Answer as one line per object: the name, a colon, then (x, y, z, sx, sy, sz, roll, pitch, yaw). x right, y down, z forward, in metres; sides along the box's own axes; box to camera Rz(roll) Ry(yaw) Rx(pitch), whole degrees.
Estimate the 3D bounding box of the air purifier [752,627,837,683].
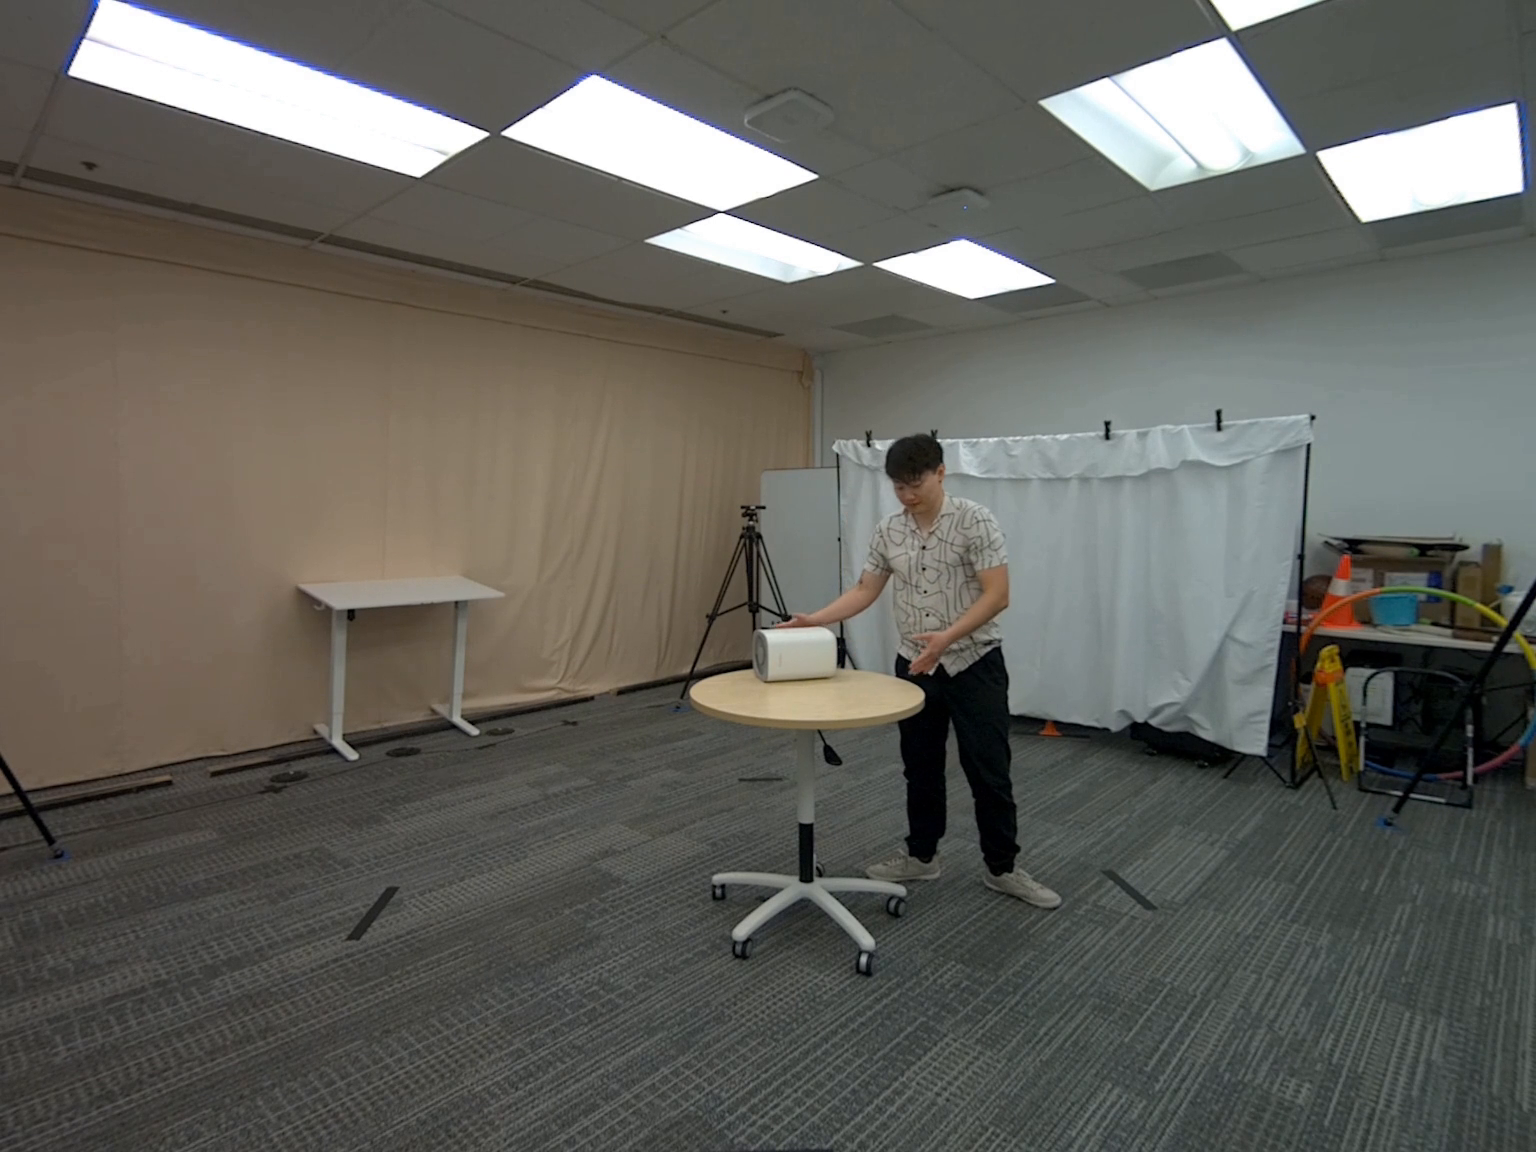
air purifier: (0.100, 0.275, 2.981, 0.261, 0.171, 0.174, -2, 4, -15)
